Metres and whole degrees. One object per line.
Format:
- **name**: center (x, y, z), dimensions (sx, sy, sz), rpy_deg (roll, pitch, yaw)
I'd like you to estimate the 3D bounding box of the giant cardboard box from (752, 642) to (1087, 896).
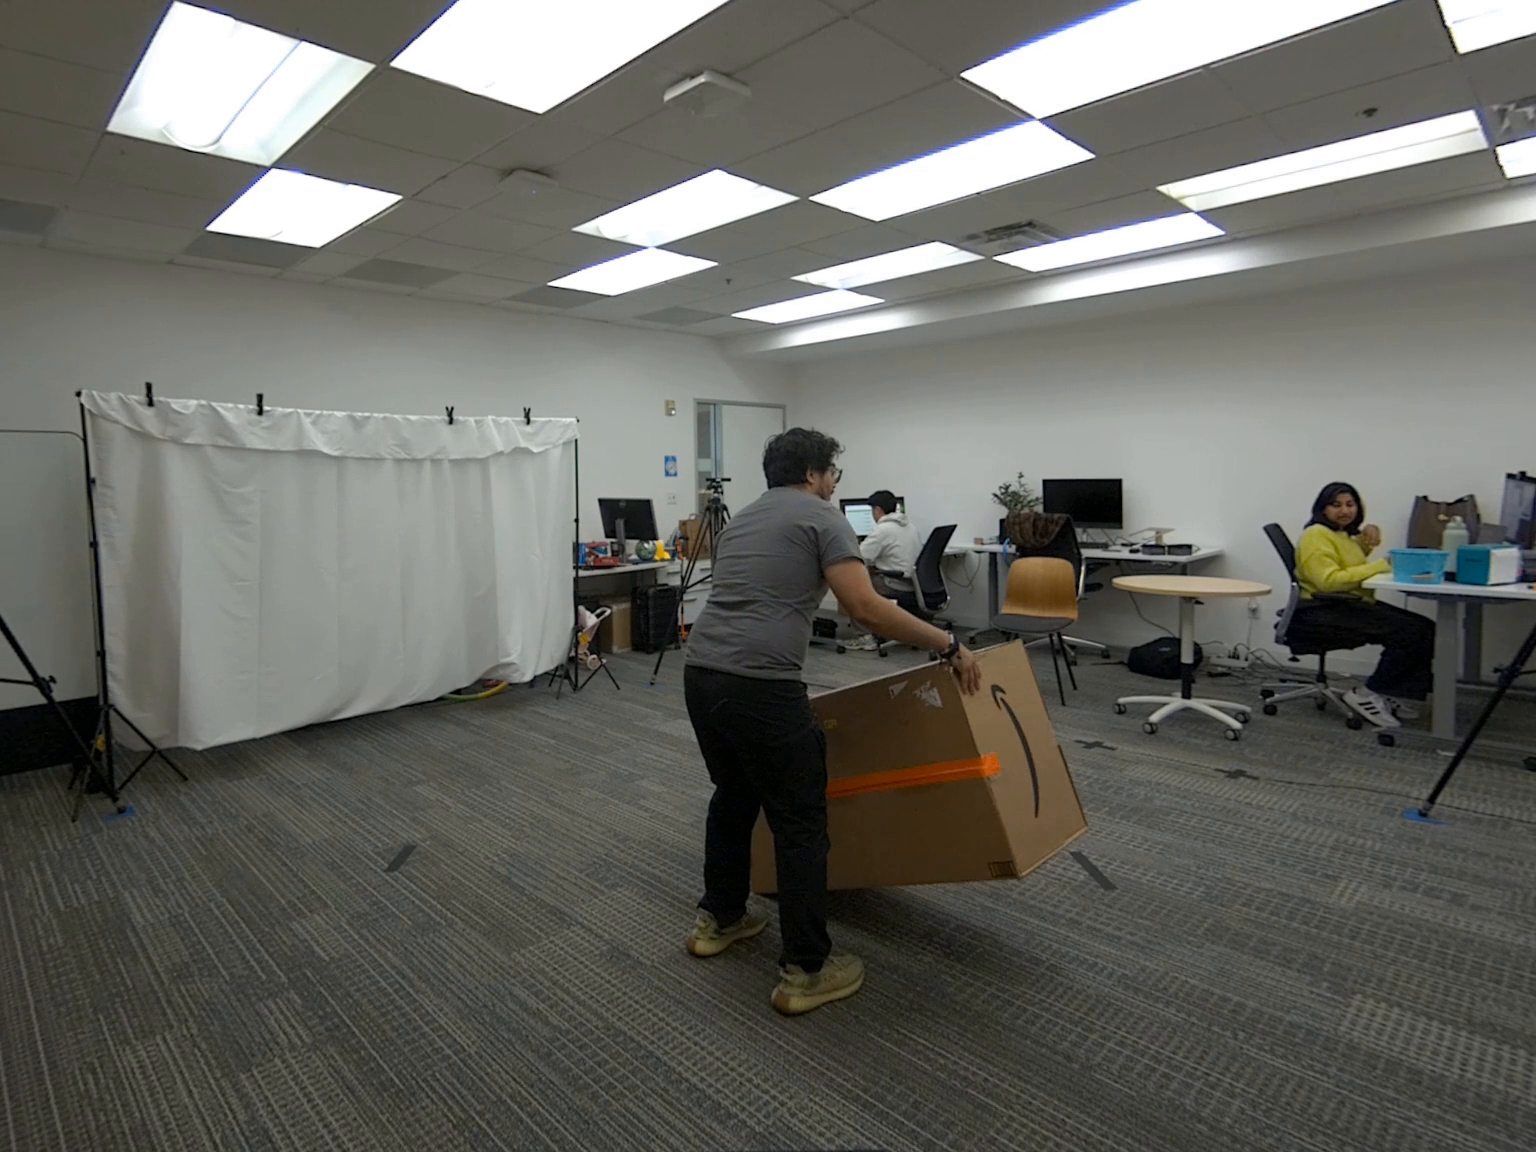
- **giant cardboard box**: center (0.365, 0.634, 2.736), dimensions (0.415, 0.584, 1.041), rpy_deg (-6, -13, -46)
